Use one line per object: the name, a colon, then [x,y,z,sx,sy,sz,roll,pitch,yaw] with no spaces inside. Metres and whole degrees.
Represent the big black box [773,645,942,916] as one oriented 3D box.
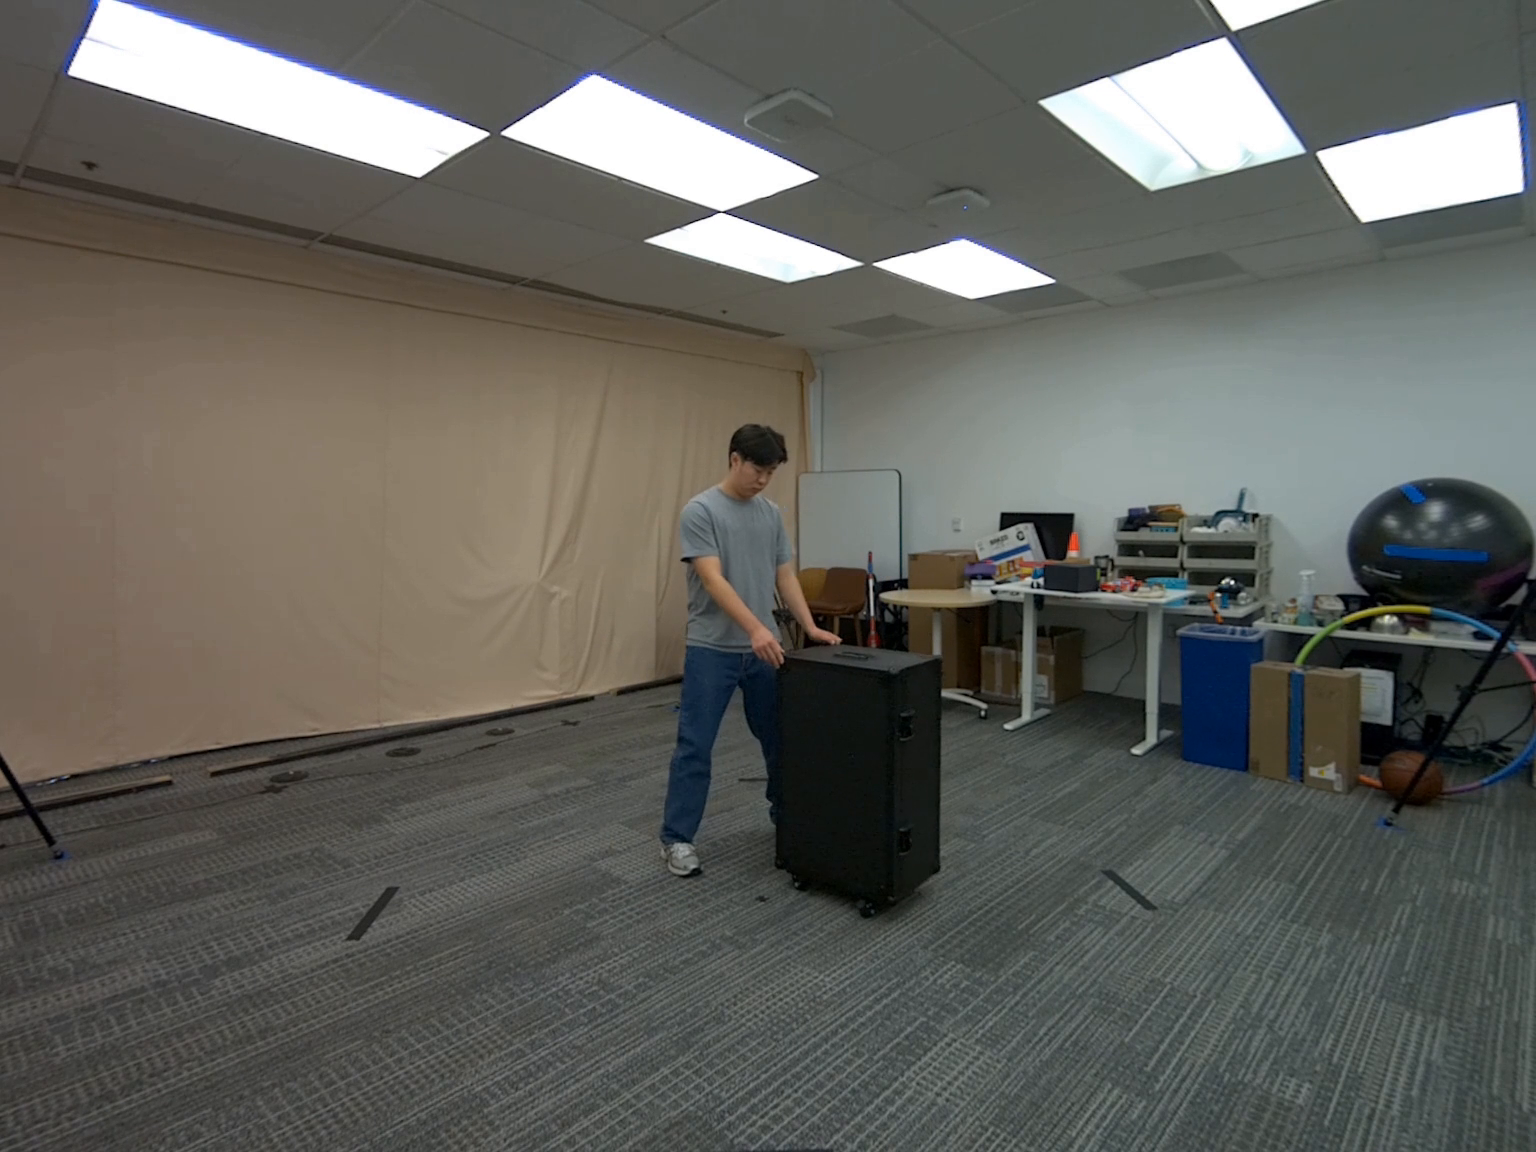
big black box: [0.329,0.710,3.049,0.538,0.860,0.384,2,2,38]
